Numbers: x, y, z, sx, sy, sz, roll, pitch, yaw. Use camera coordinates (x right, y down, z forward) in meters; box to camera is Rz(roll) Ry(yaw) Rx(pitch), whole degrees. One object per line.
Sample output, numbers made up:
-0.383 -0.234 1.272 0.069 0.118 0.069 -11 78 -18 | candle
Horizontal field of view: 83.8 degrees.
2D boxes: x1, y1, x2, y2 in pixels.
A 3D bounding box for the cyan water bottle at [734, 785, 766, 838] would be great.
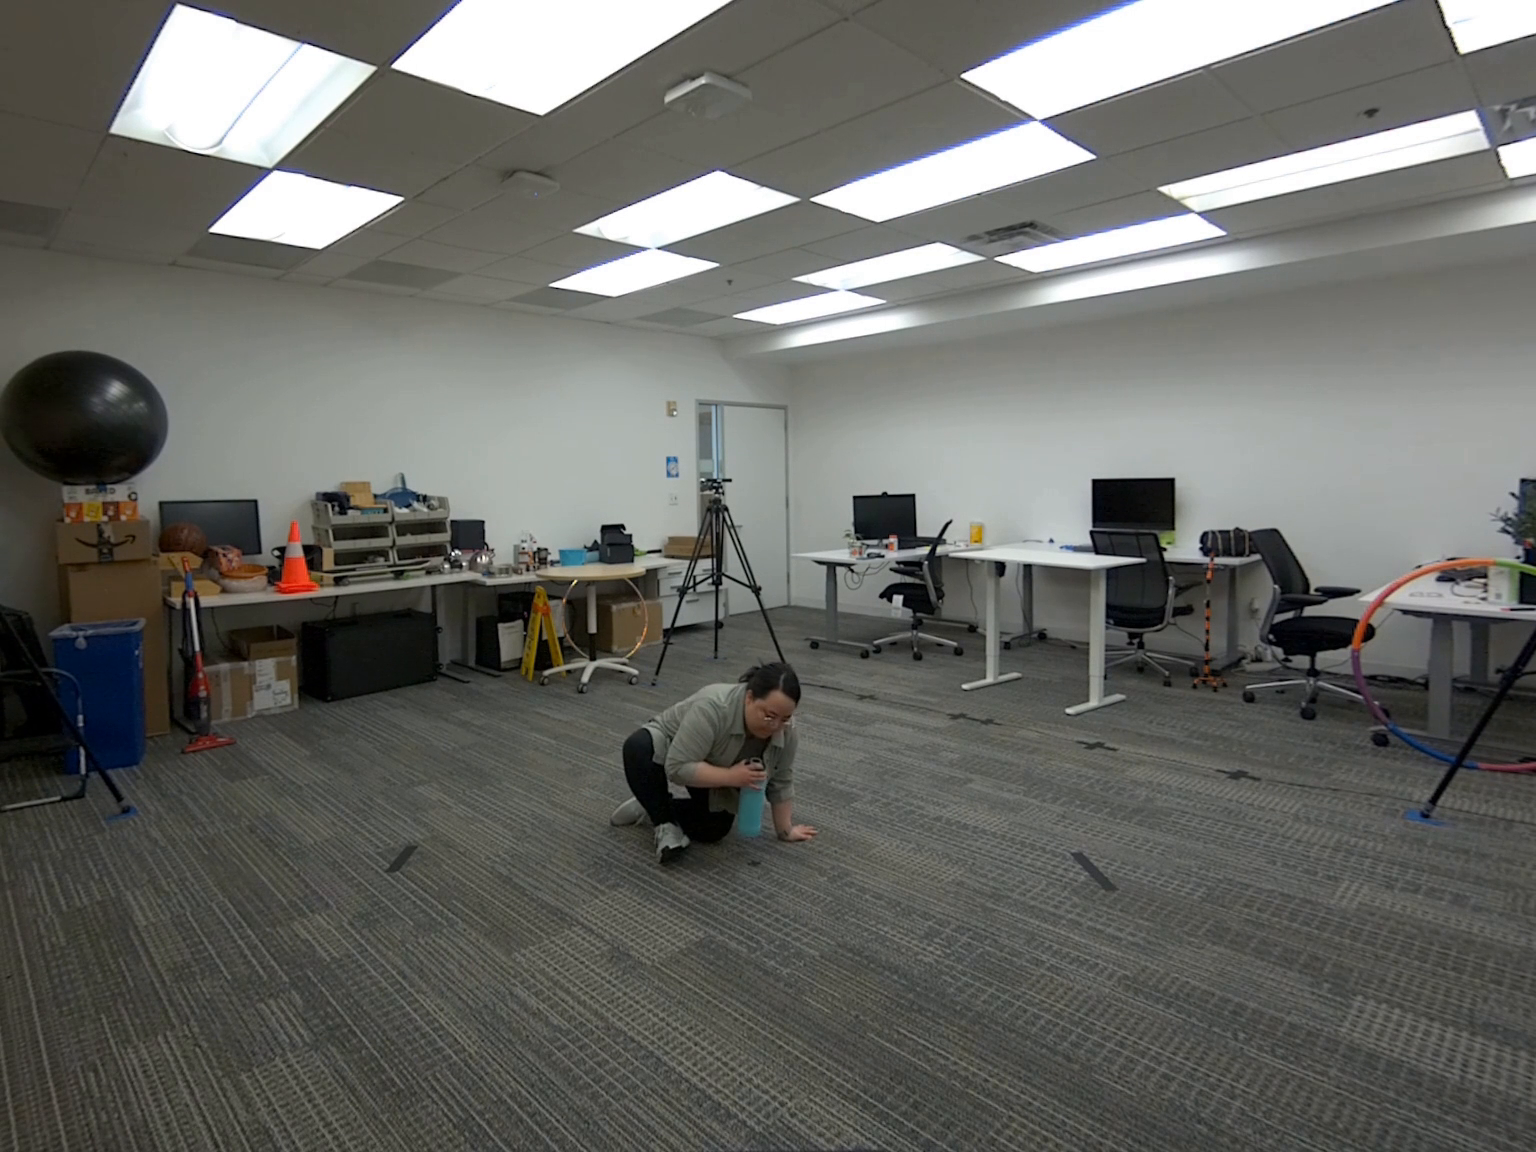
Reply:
-0.071 0.798 3.109 0.092 0.282 0.093 5 6 -2 | cyan water bottle
